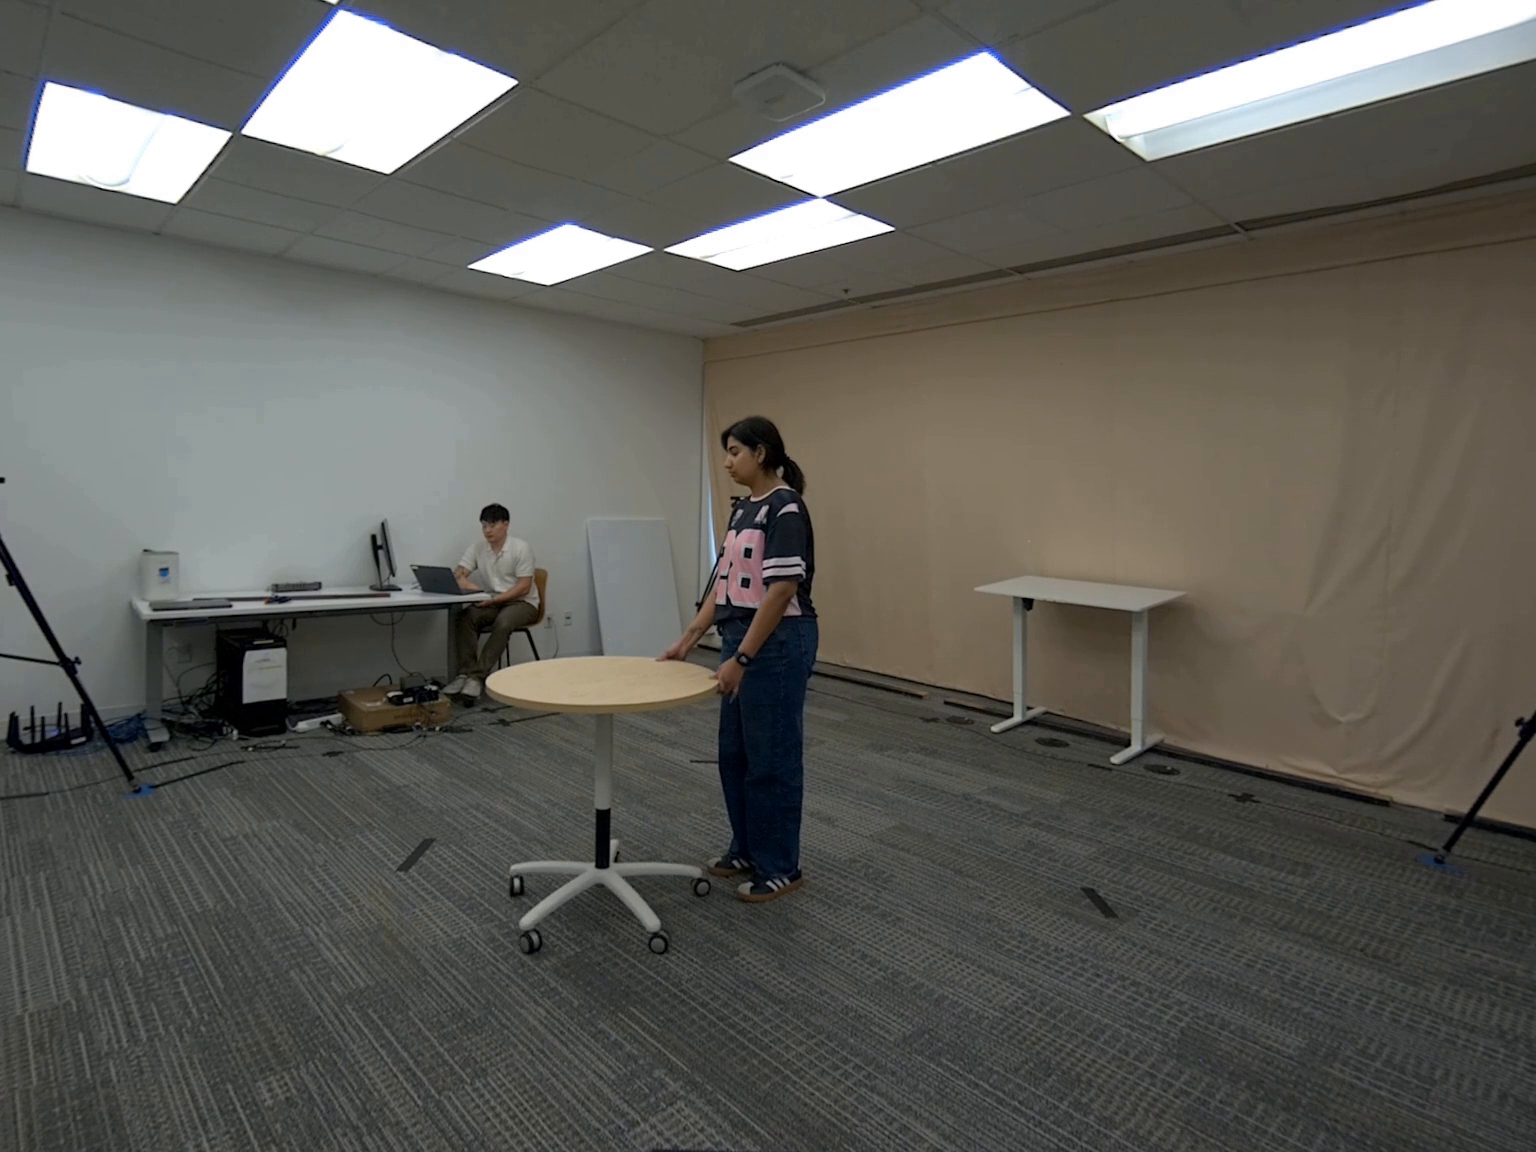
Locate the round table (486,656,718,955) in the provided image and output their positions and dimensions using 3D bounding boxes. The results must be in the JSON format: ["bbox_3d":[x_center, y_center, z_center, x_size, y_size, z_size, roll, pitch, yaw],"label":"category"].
[{"bbox_3d":[-0.542,0.728,2.819,0.784,0.784,0.788,1,4,-1],"label":"round table"}]
